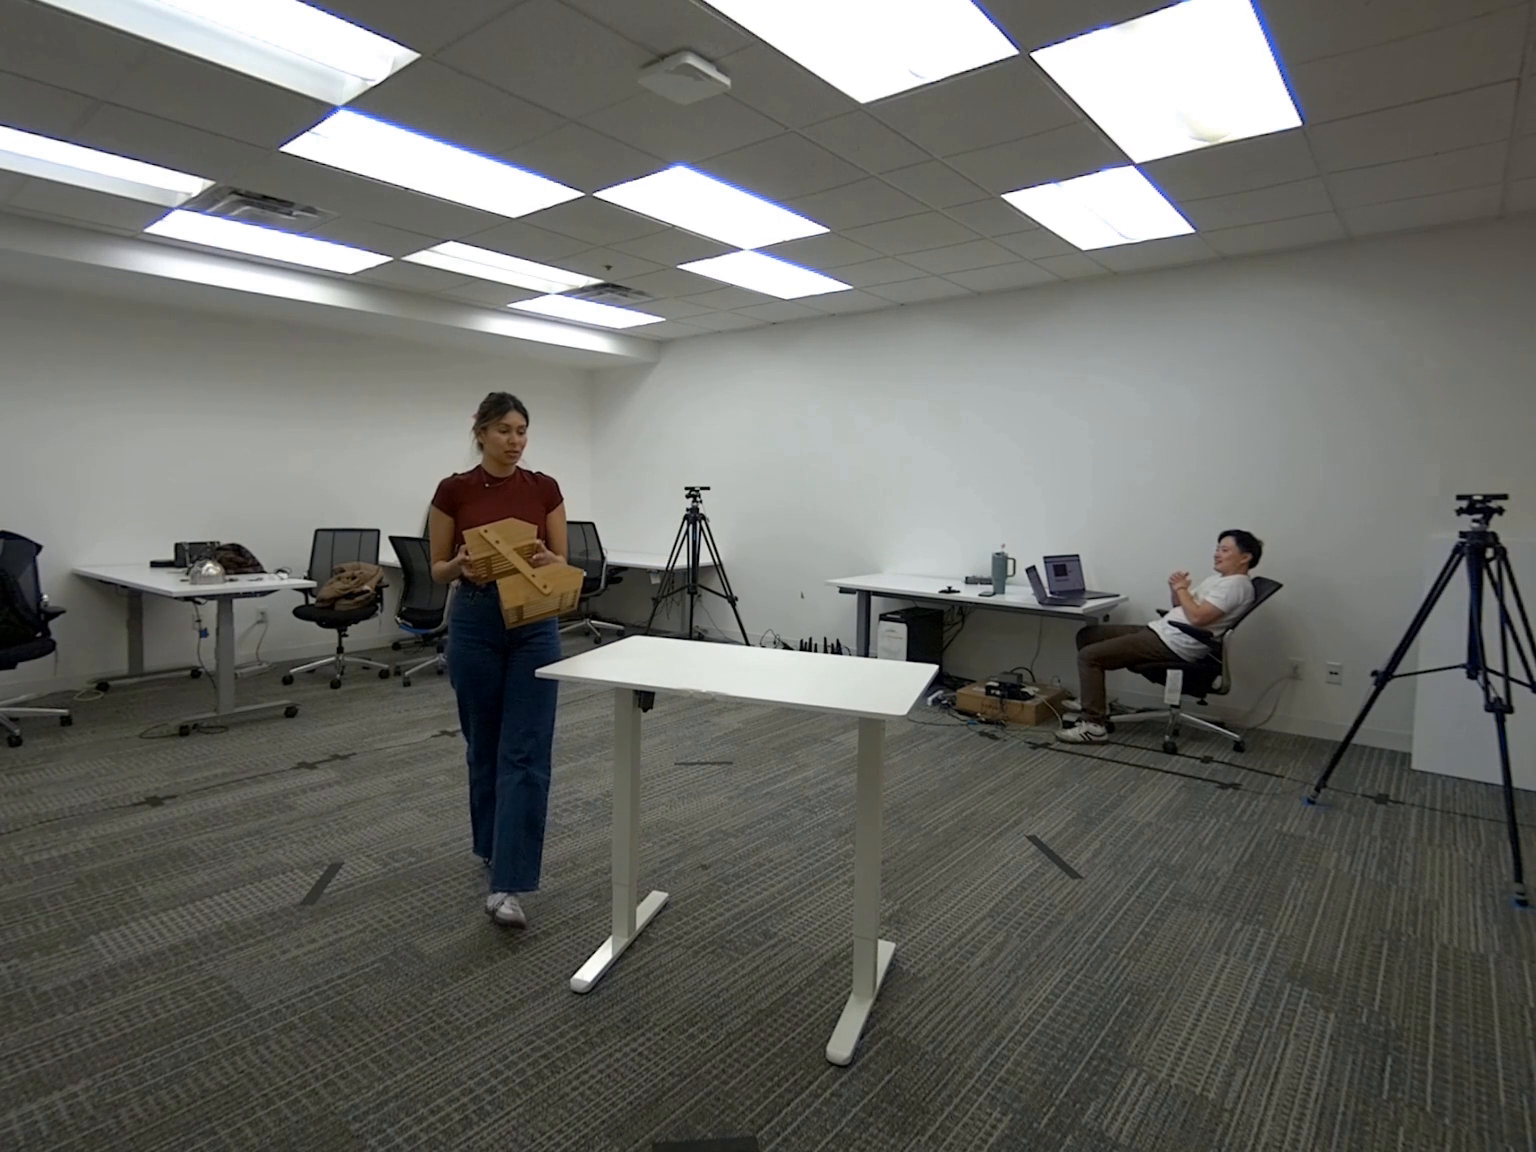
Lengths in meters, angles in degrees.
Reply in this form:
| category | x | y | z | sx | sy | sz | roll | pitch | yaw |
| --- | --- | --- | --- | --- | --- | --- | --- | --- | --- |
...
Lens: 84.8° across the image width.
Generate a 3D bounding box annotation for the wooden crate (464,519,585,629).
| category | x | y | z | sx | sy | sz | roll | pitch | yaw |
| --- | --- | --- | --- | --- | --- | --- | --- | --- | --- |
| wooden crate | -0.766 | -0.020 | 2.618 | 0.298 | 0.277 | 0.324 | -18 | -11 | -18 |
